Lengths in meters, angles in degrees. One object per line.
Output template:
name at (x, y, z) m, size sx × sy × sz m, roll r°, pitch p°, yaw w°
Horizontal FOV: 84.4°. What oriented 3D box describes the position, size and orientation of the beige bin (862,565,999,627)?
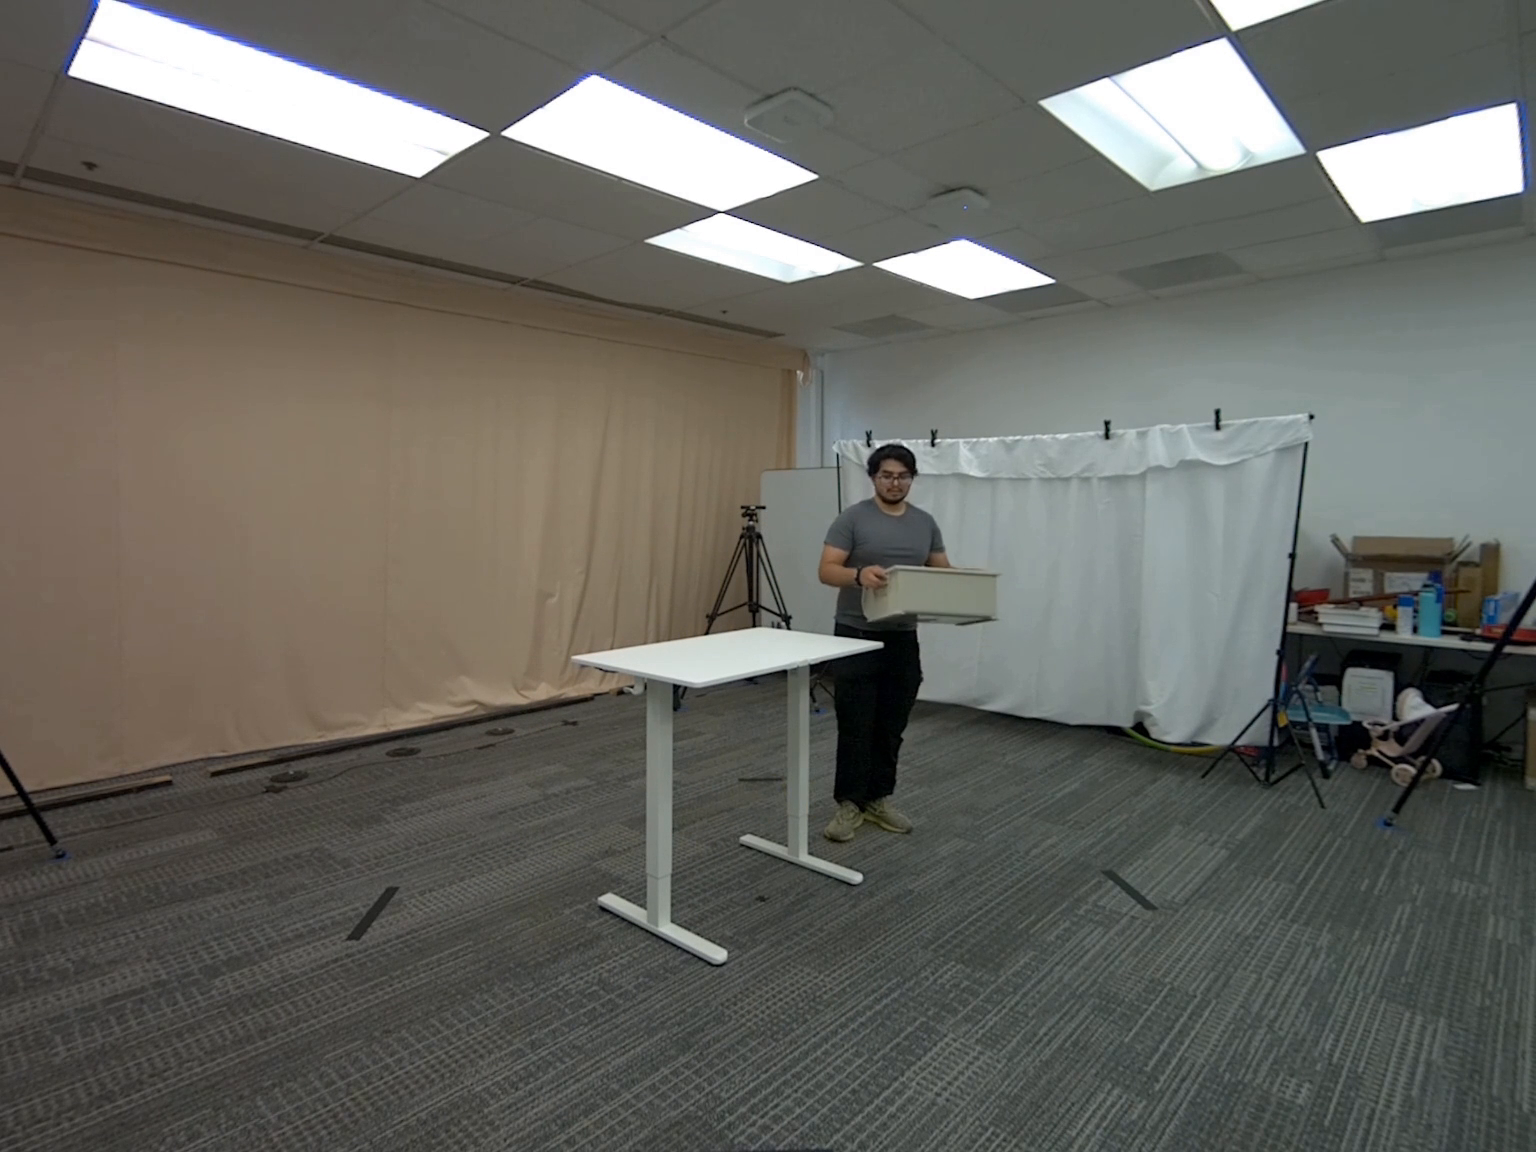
beige bin at (0.628, 0.099, 3.321) m, size 0.418 × 0.190 × 0.379 m, roll 6°, pitch -9°, yaw -10°
